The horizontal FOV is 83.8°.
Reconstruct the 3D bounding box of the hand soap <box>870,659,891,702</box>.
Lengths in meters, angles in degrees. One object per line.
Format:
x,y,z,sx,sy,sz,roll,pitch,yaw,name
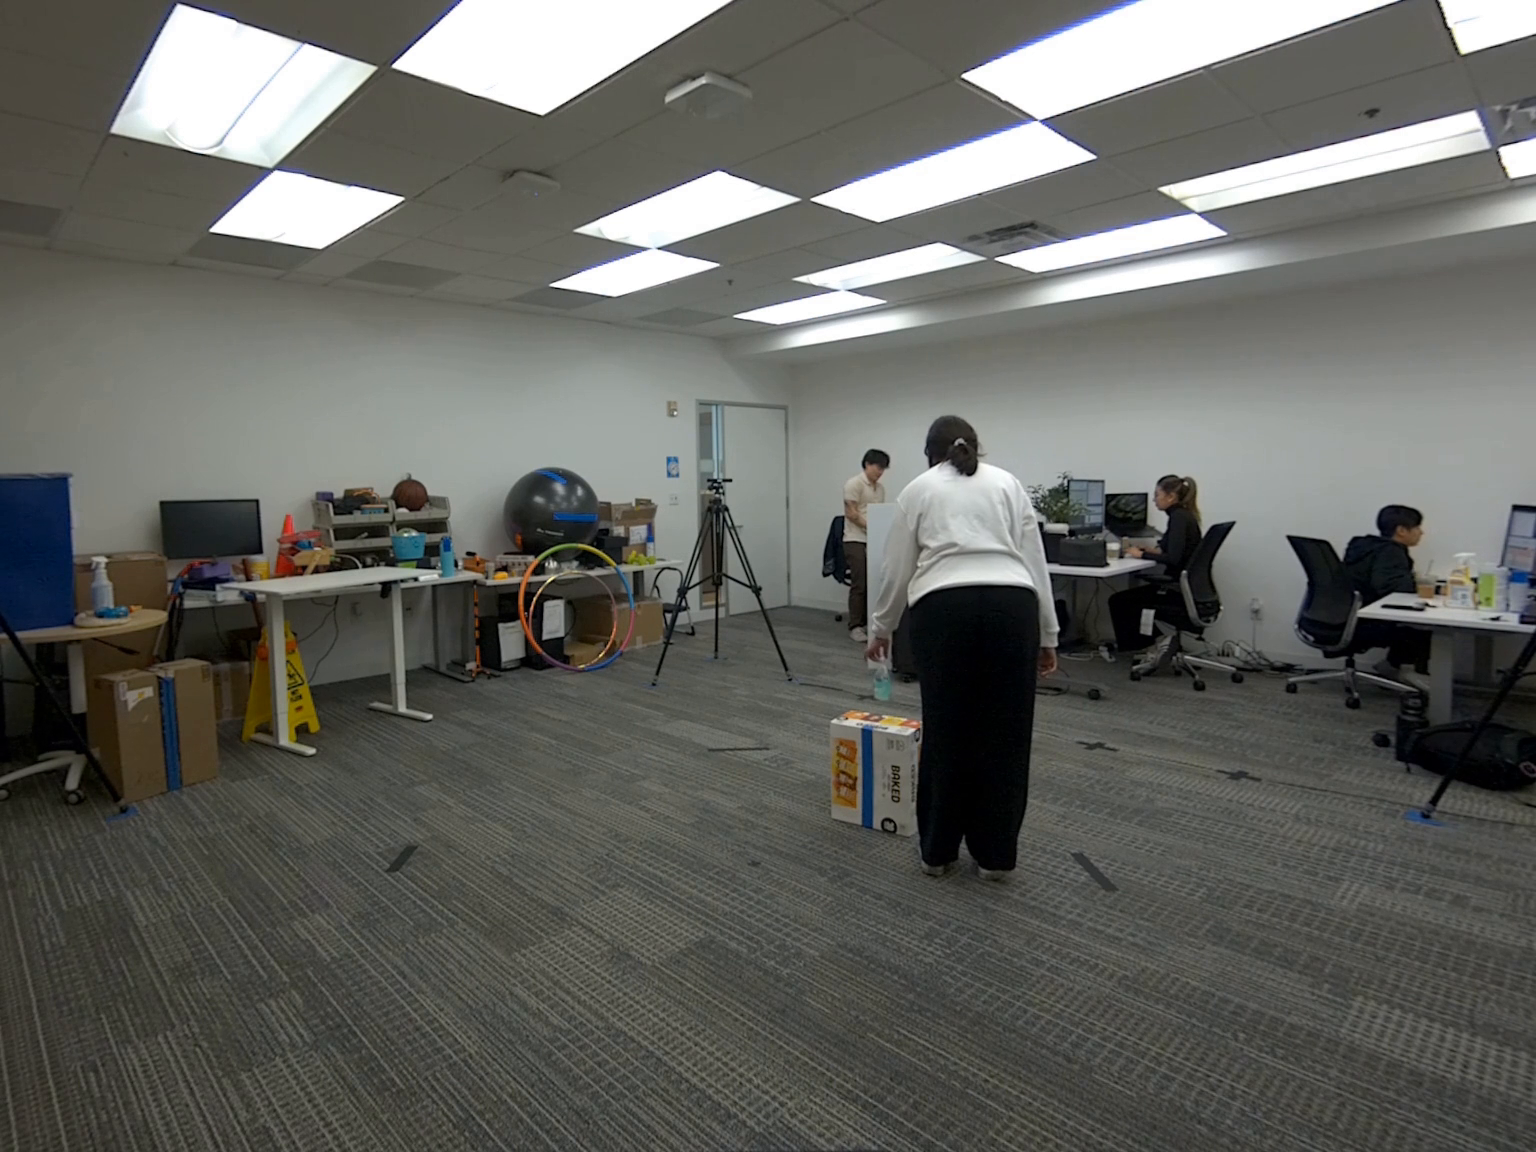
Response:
0.448,0.403,3.363,0.042,0.167,0.087,-5,11,-38,hand soap
